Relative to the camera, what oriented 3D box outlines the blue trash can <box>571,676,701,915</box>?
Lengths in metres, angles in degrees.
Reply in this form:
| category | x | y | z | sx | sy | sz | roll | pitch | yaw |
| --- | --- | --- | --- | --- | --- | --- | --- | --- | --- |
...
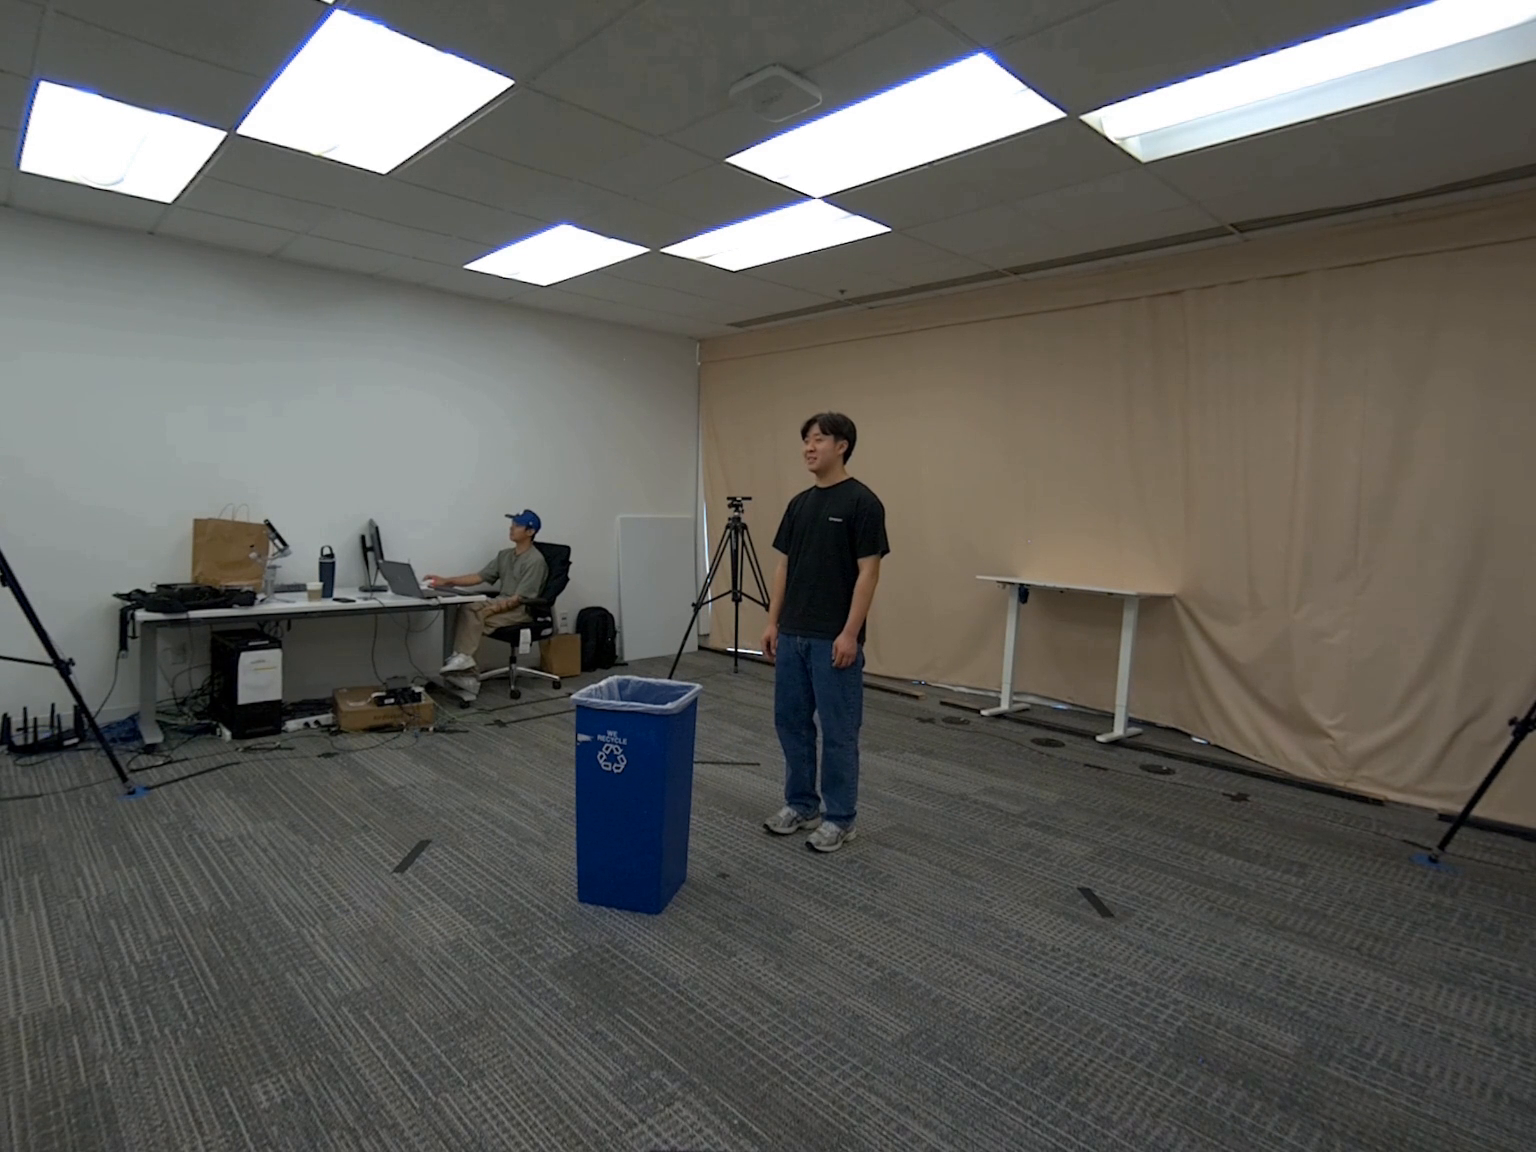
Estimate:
| category | x | y | z | sx | sy | sz | roll | pitch | yaw |
| --- | --- | --- | --- | --- | --- | --- | --- | --- | --- |
| blue trash can | -0.472 | 0.754 | 2.956 | 0.379 | 0.712 | 0.374 | 4 | 4 | 14 |
